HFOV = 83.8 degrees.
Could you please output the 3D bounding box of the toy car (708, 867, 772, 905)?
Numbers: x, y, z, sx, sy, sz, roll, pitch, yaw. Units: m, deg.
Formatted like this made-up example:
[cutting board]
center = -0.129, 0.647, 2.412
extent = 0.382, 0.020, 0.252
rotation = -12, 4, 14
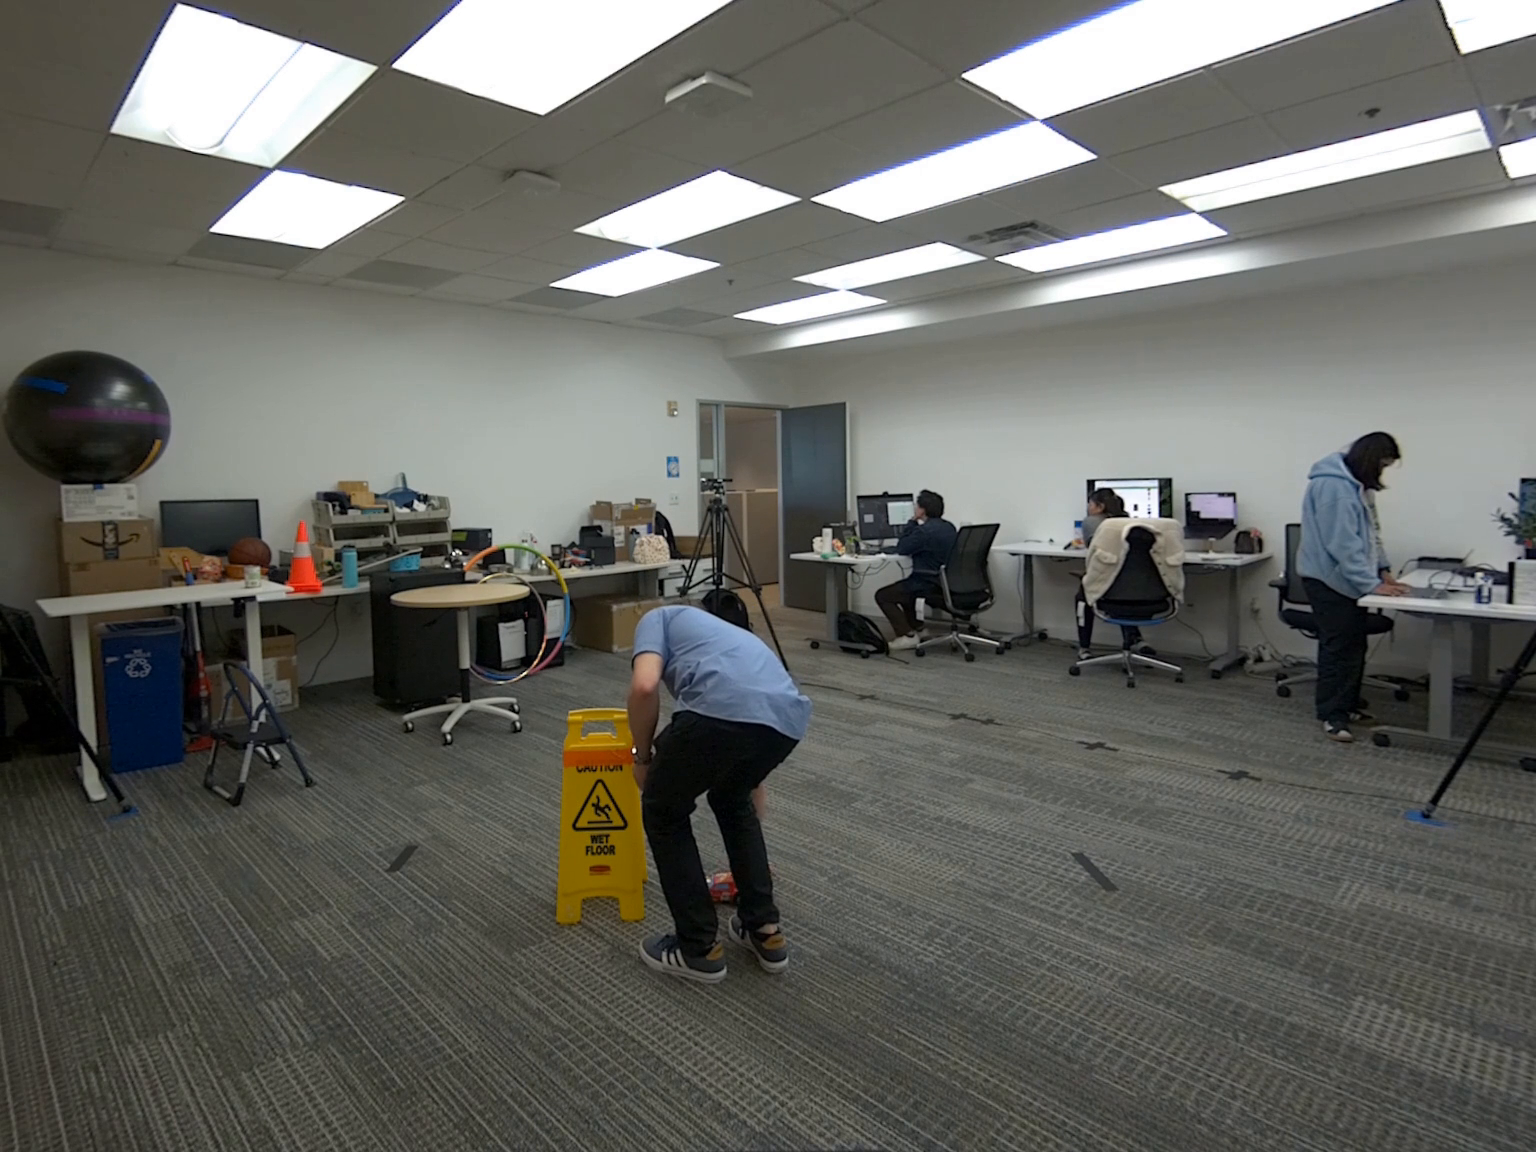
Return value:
[toy car]
center = -0.127, 1.041, 2.827
extent = 0.255, 0.082, 0.131
rotation = -12, 8, 2
